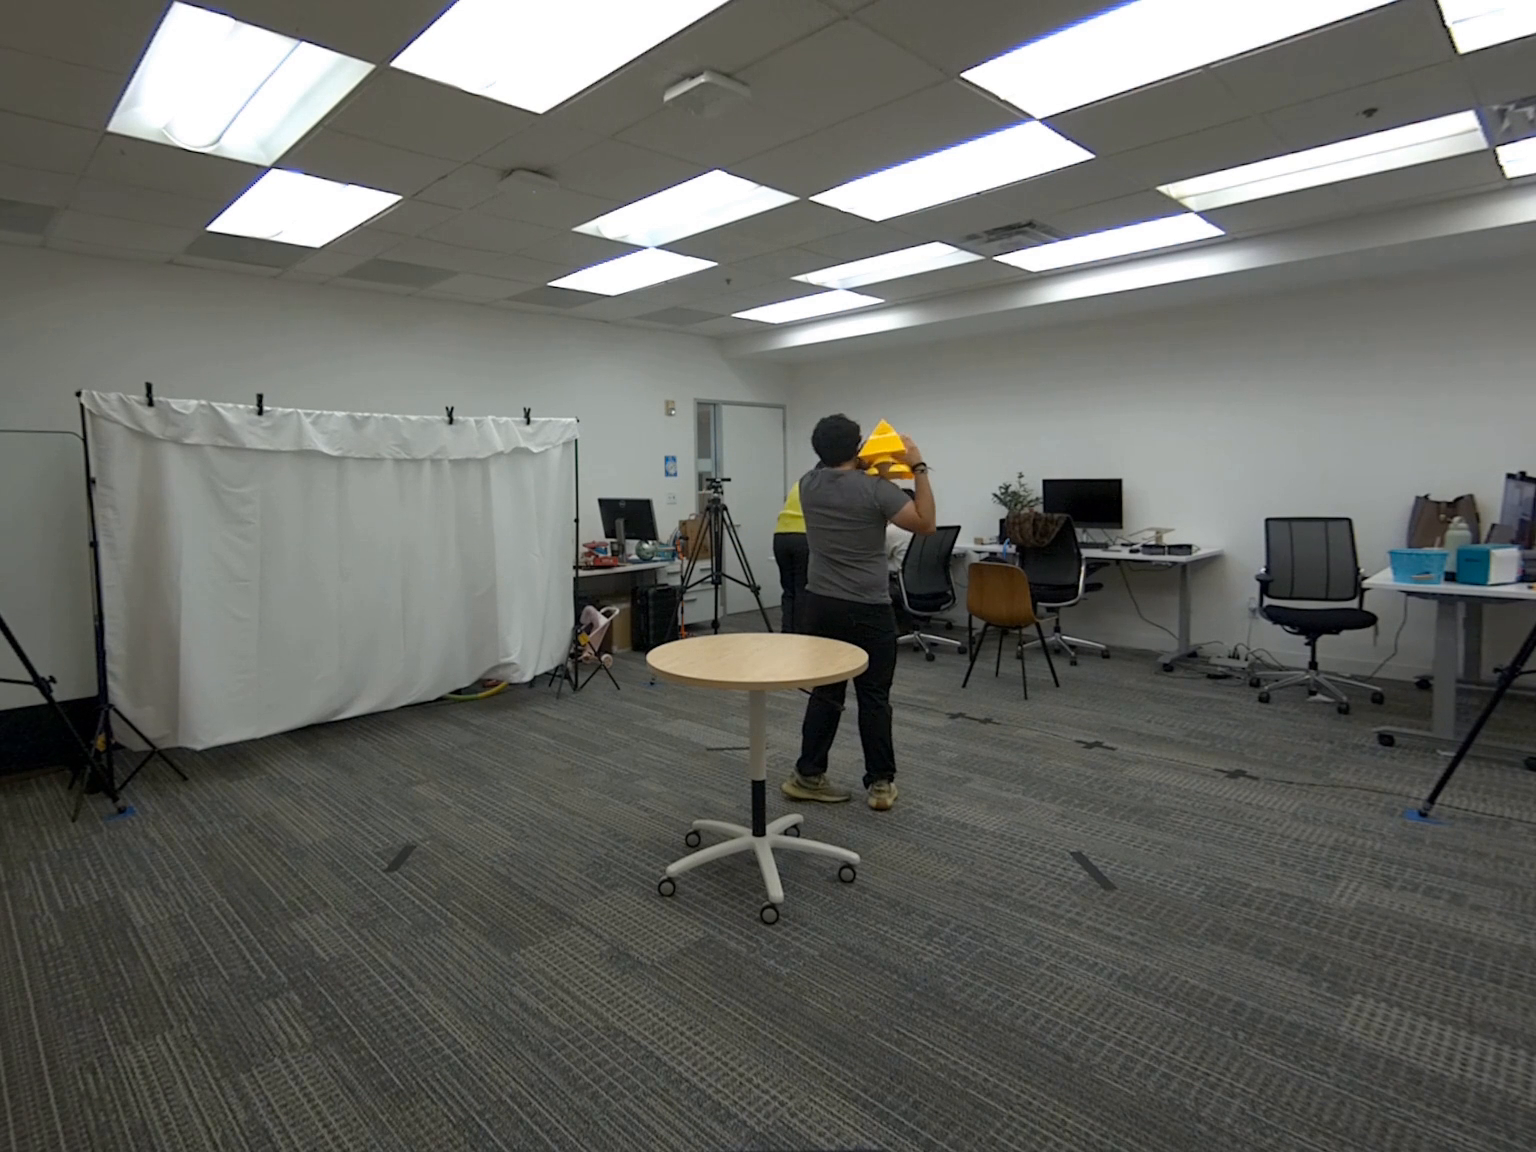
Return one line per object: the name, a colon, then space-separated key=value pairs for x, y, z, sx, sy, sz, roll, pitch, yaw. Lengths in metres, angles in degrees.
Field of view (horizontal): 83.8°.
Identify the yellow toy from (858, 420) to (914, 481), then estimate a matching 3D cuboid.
yellow toy: x=0.502 y=-0.528 z=3.579 sx=0.209 sy=0.233 sz=0.187 roll=-5 pitch=-11 yaw=30
